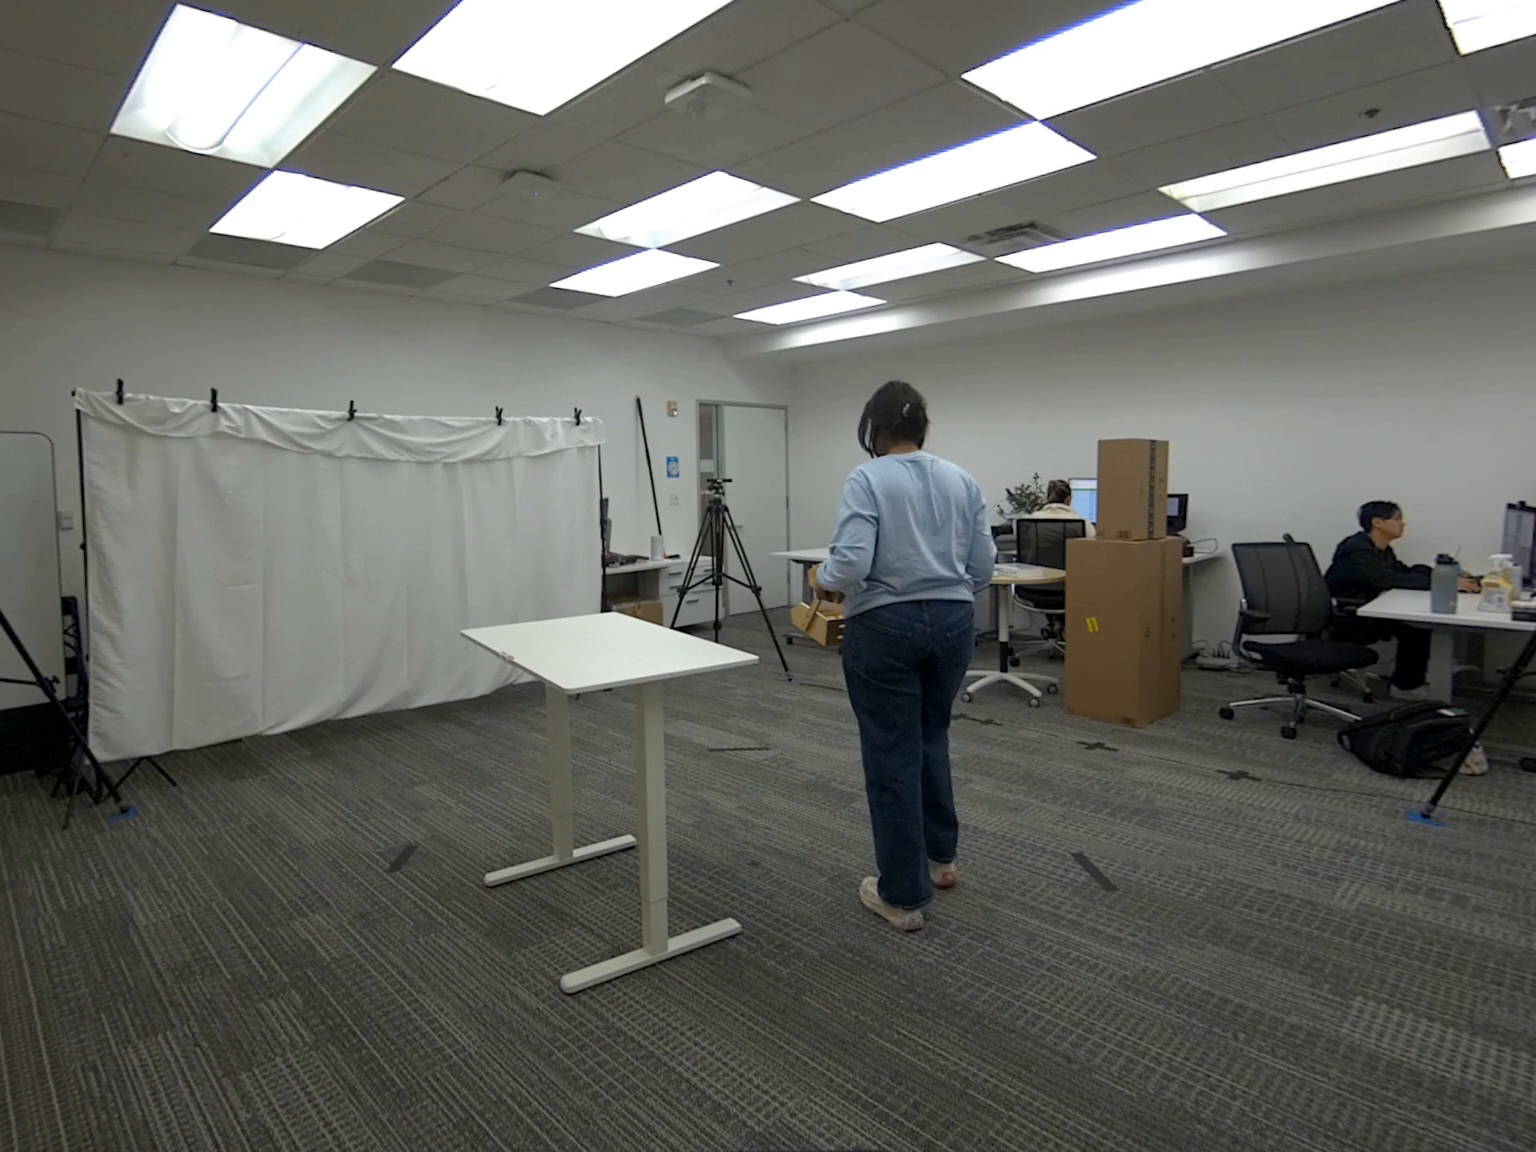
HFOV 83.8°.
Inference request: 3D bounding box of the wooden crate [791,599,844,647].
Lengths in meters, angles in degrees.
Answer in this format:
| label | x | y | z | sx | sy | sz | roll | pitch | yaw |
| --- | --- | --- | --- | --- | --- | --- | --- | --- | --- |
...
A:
| label | x | y | z | sx | sy | sz | roll | pitch | yaw |
| --- | --- | --- | --- | --- | --- | --- | --- | --- | --- |
| wooden crate | 0.310 | 0.072 | 2.975 | 0.317 | 0.269 | 0.313 | -5 | 19 | -27 |
